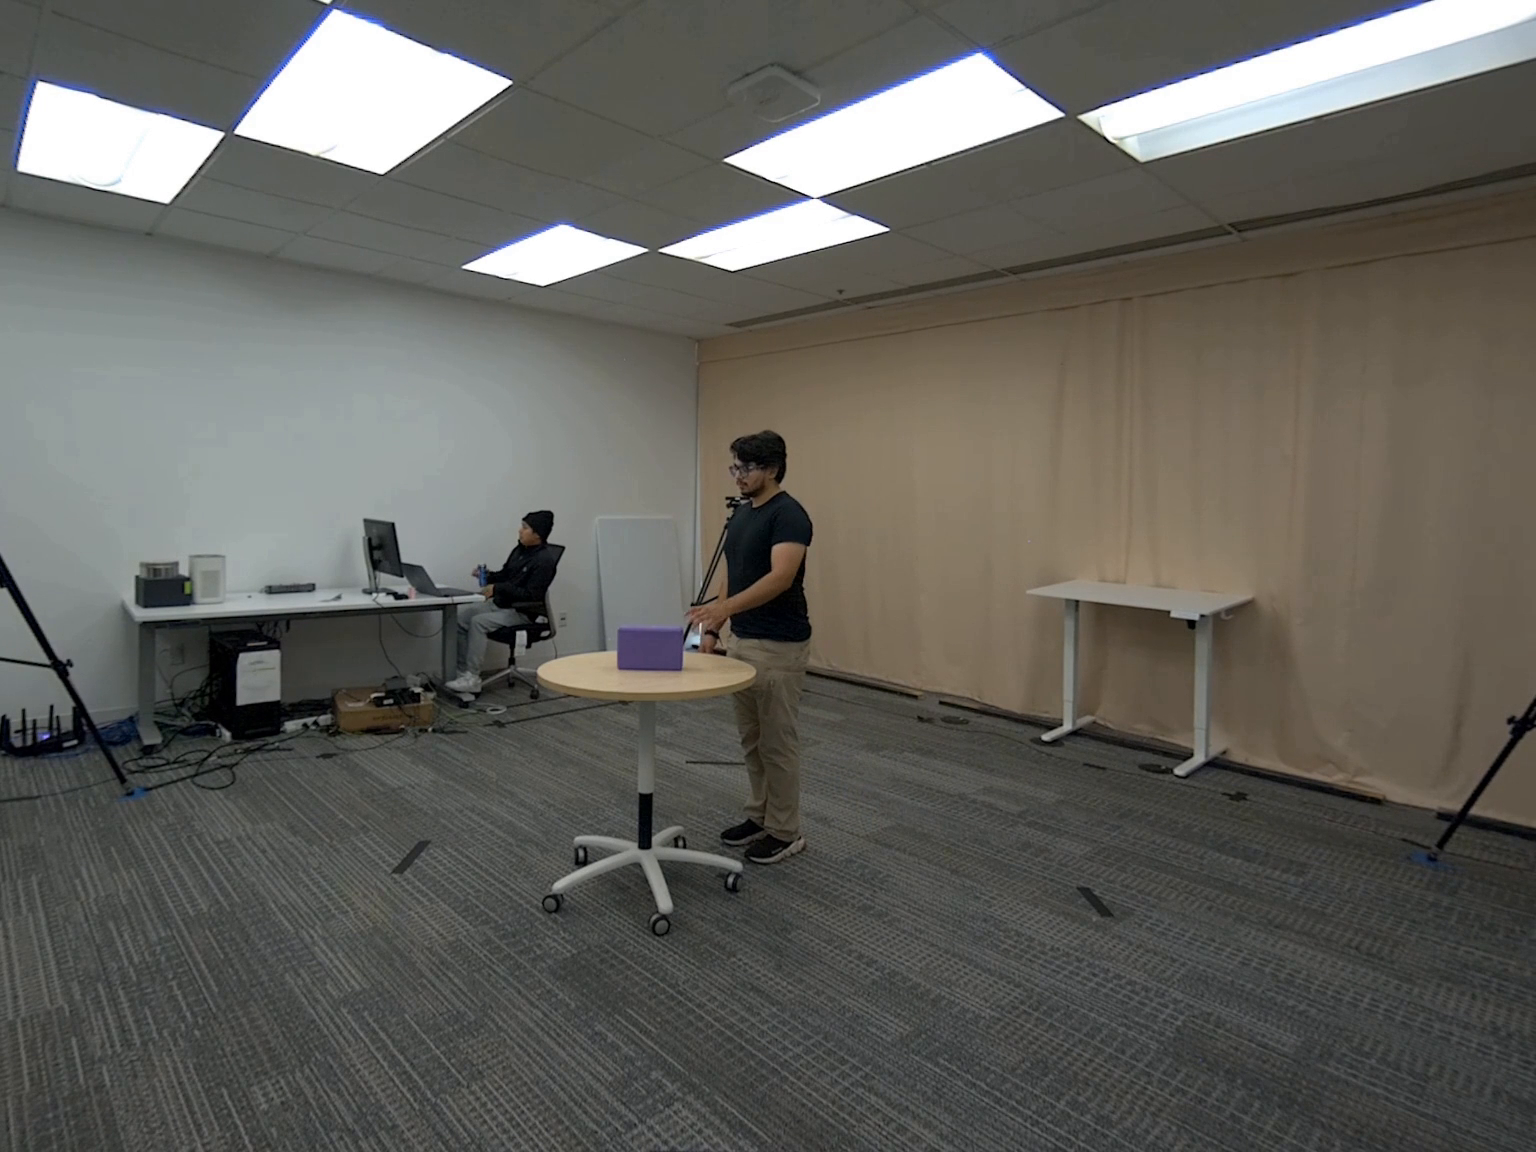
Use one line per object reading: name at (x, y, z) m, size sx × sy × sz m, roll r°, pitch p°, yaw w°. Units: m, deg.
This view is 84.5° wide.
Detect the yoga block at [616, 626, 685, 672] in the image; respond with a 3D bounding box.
yoga block at (-0.424, 0.251, 2.975) m, size 0.230 × 0.148 × 0.076 m, roll 3°, pitch 4°, yaw 2°
